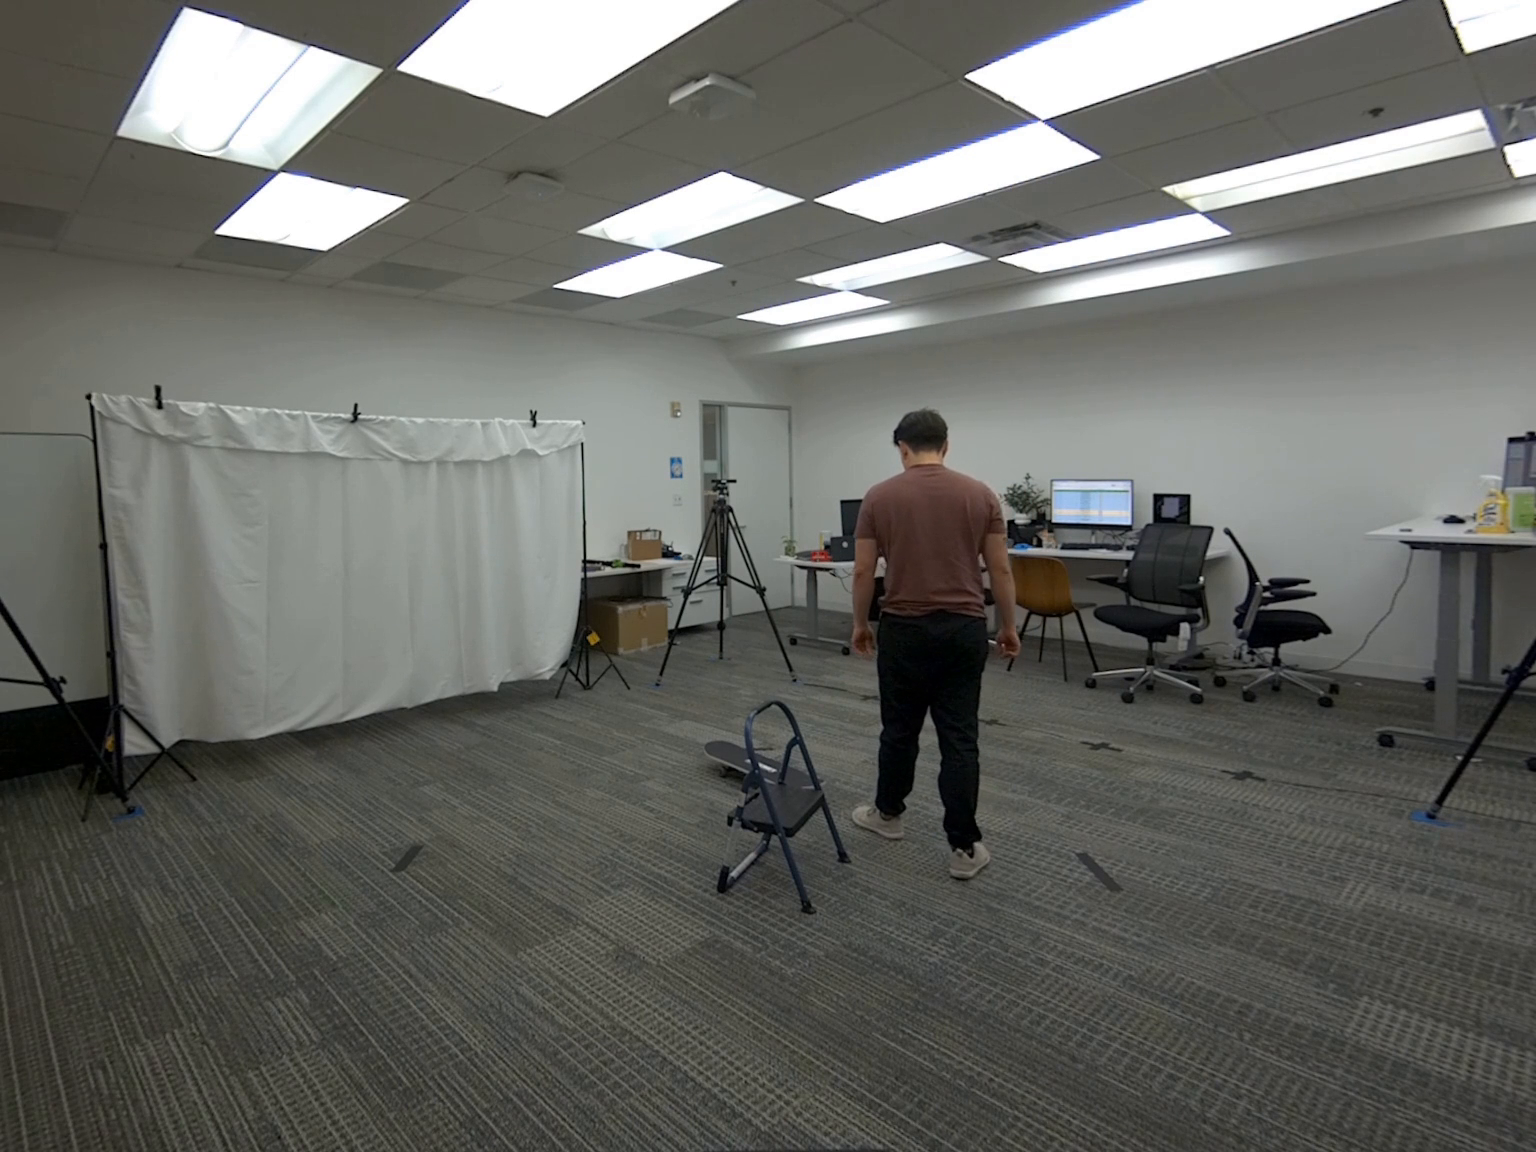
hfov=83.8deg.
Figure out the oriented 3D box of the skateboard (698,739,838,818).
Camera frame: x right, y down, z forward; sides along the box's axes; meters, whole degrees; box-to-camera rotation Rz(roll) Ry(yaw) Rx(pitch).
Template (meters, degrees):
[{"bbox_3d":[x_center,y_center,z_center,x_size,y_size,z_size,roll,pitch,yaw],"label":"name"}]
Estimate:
[{"bbox_3d":[-0.023,0.905,3.915,0.188,0.110,0.809,-5,7,-36],"label":"skateboard"}]
